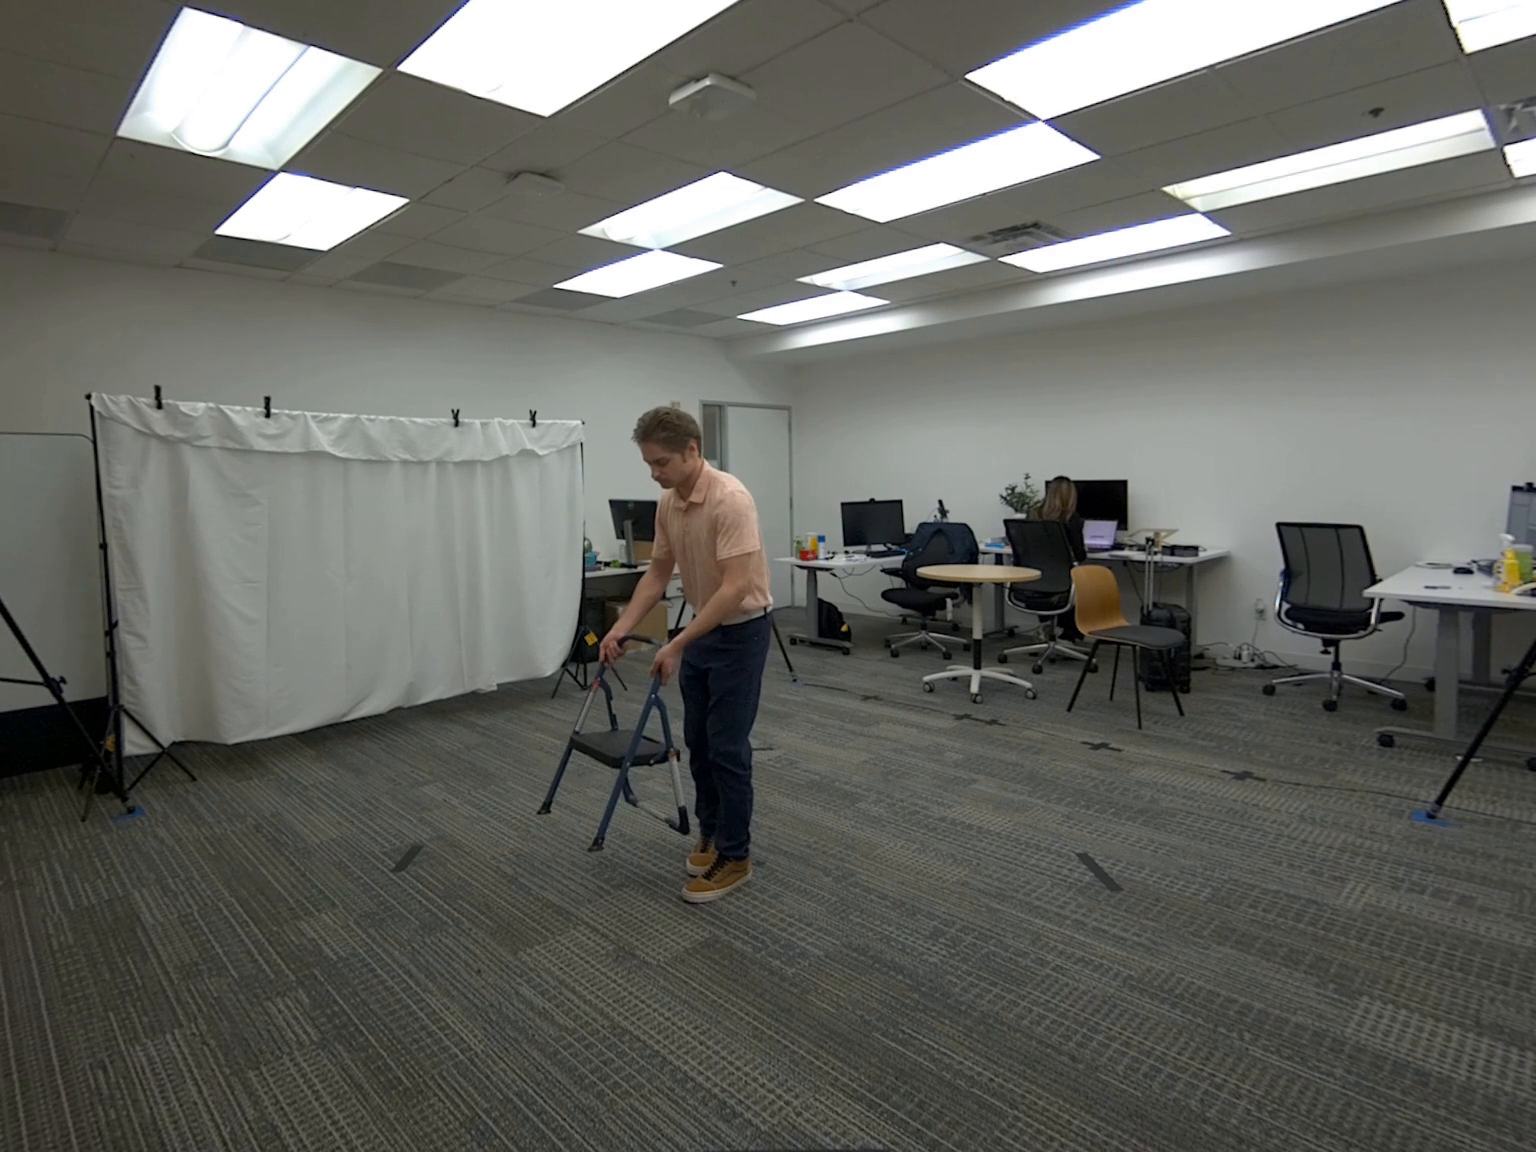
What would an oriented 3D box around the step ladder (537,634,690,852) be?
[{"bbox_3d":[-0.481,0.503,2.768,0.339,0.607,0.443,5,-2,-37],"label":"step ladder"}]
